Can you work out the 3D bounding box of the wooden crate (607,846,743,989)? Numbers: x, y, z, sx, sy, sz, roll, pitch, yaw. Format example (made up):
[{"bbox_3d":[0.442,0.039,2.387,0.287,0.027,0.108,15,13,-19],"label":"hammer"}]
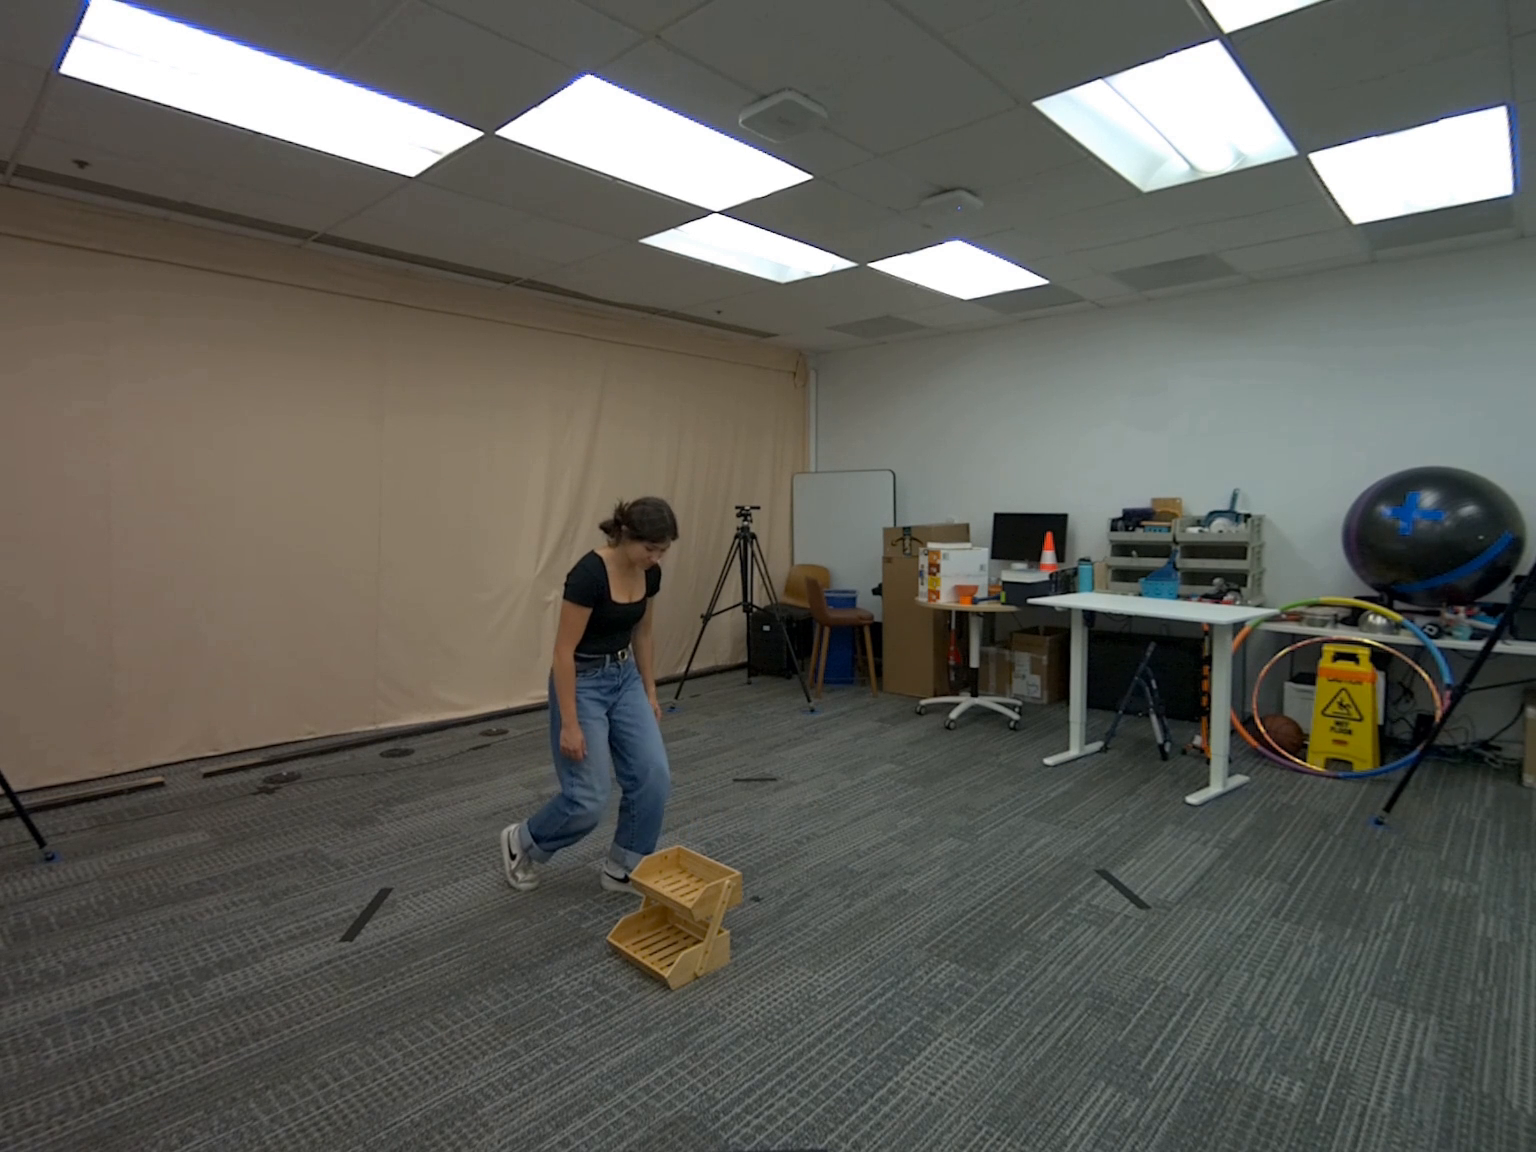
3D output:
[{"bbox_3d":[-0.291,1.045,2.608,0.293,0.273,0.335,-3,5,-44],"label":"wooden crate"}]
